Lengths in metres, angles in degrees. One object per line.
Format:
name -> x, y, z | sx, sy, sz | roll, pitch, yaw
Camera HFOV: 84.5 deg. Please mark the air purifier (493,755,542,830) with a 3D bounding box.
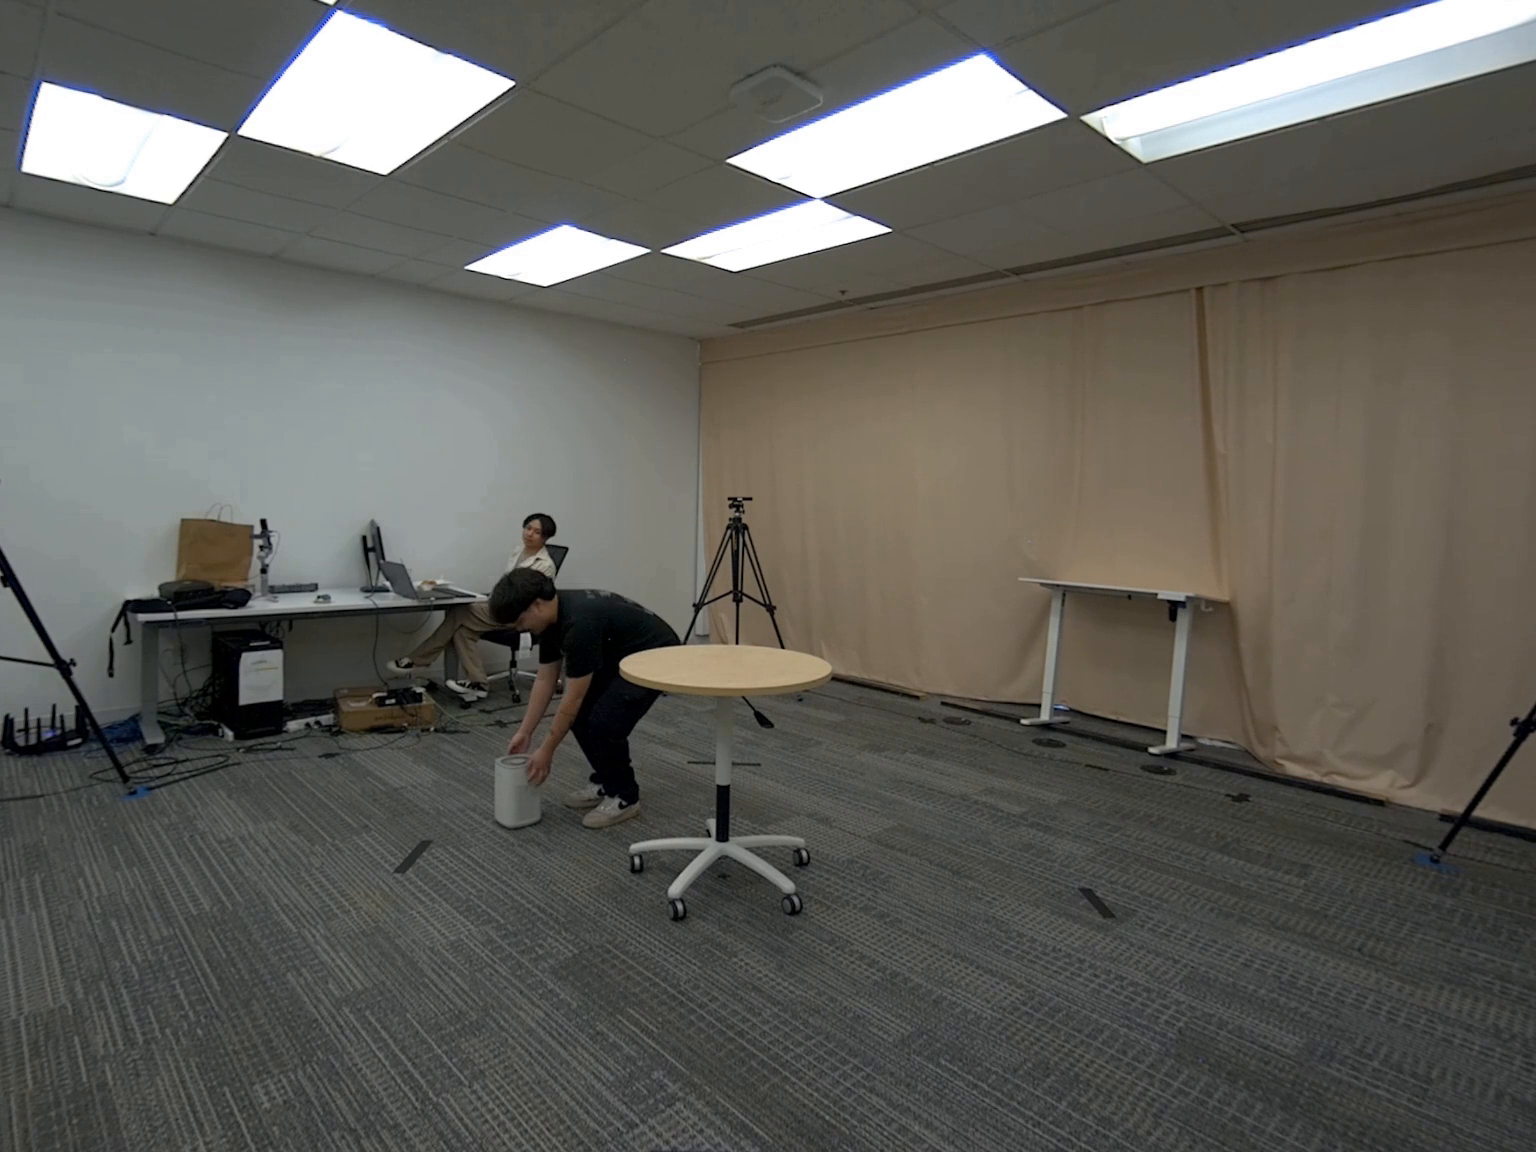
air purifier -> -1.066, 0.910, 3.570 | 0.168, 0.265, 0.175 | -2, 4, -42
